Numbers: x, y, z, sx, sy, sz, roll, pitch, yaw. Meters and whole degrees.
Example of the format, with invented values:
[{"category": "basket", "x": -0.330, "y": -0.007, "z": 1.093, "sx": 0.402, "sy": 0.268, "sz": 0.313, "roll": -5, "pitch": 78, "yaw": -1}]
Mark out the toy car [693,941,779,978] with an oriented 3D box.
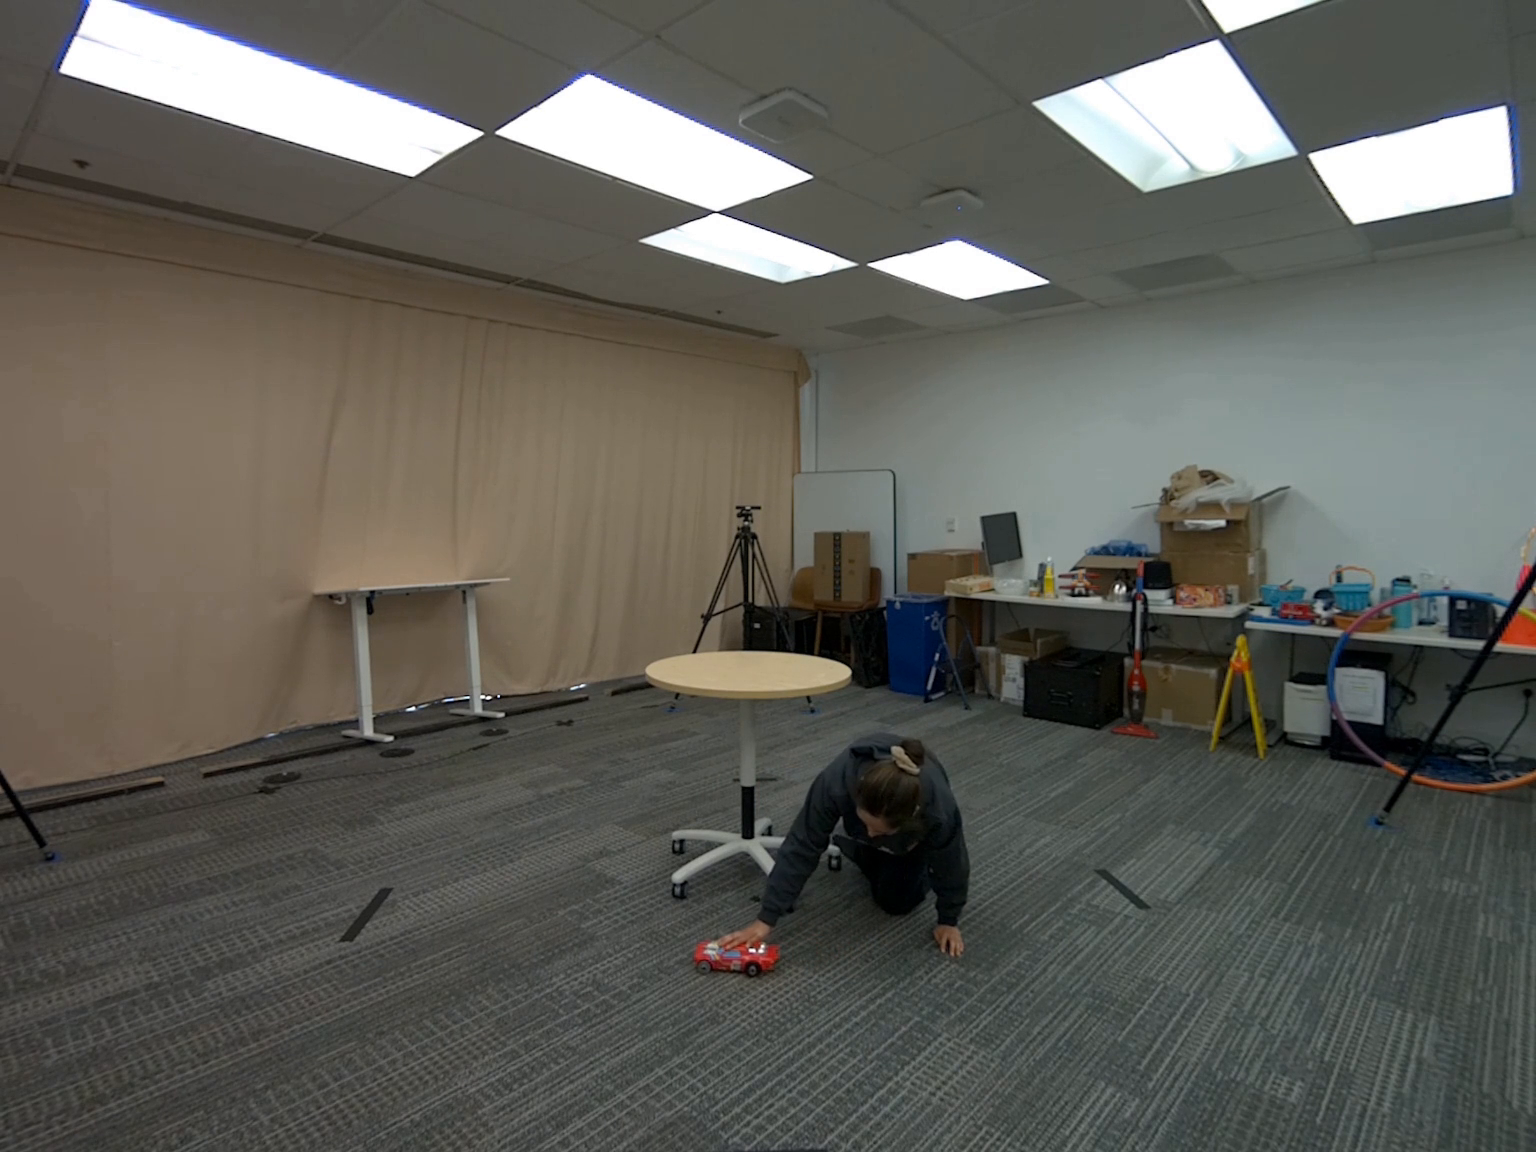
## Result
[{"category": "toy car", "x": -0.067, "y": 1.149, "z": 2.545, "sx": 0.256, "sy": 0.083, "sz": 0.130, "roll": -14, "pitch": 1, "yaw": 5}]
